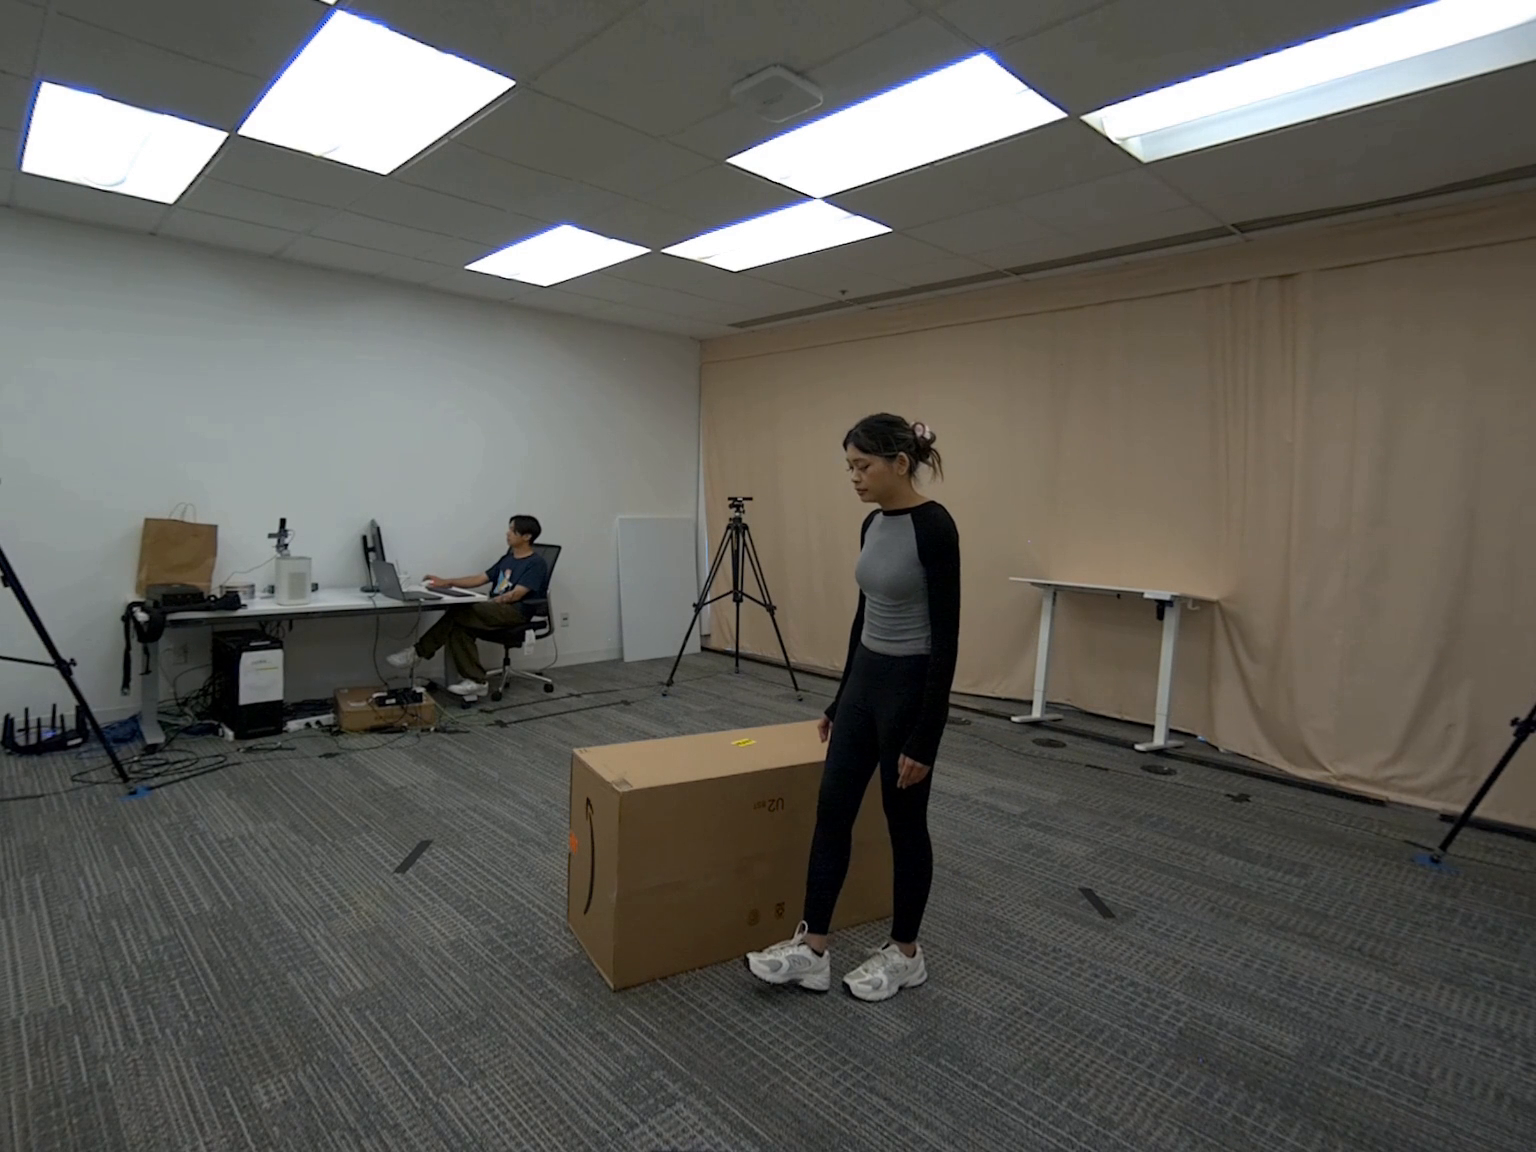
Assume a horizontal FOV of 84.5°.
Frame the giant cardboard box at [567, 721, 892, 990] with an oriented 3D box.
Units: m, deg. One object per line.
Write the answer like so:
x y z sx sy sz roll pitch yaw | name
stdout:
-0.103 0.852 2.772 1.005 0.576 0.436 -1 5 -29 | giant cardboard box
